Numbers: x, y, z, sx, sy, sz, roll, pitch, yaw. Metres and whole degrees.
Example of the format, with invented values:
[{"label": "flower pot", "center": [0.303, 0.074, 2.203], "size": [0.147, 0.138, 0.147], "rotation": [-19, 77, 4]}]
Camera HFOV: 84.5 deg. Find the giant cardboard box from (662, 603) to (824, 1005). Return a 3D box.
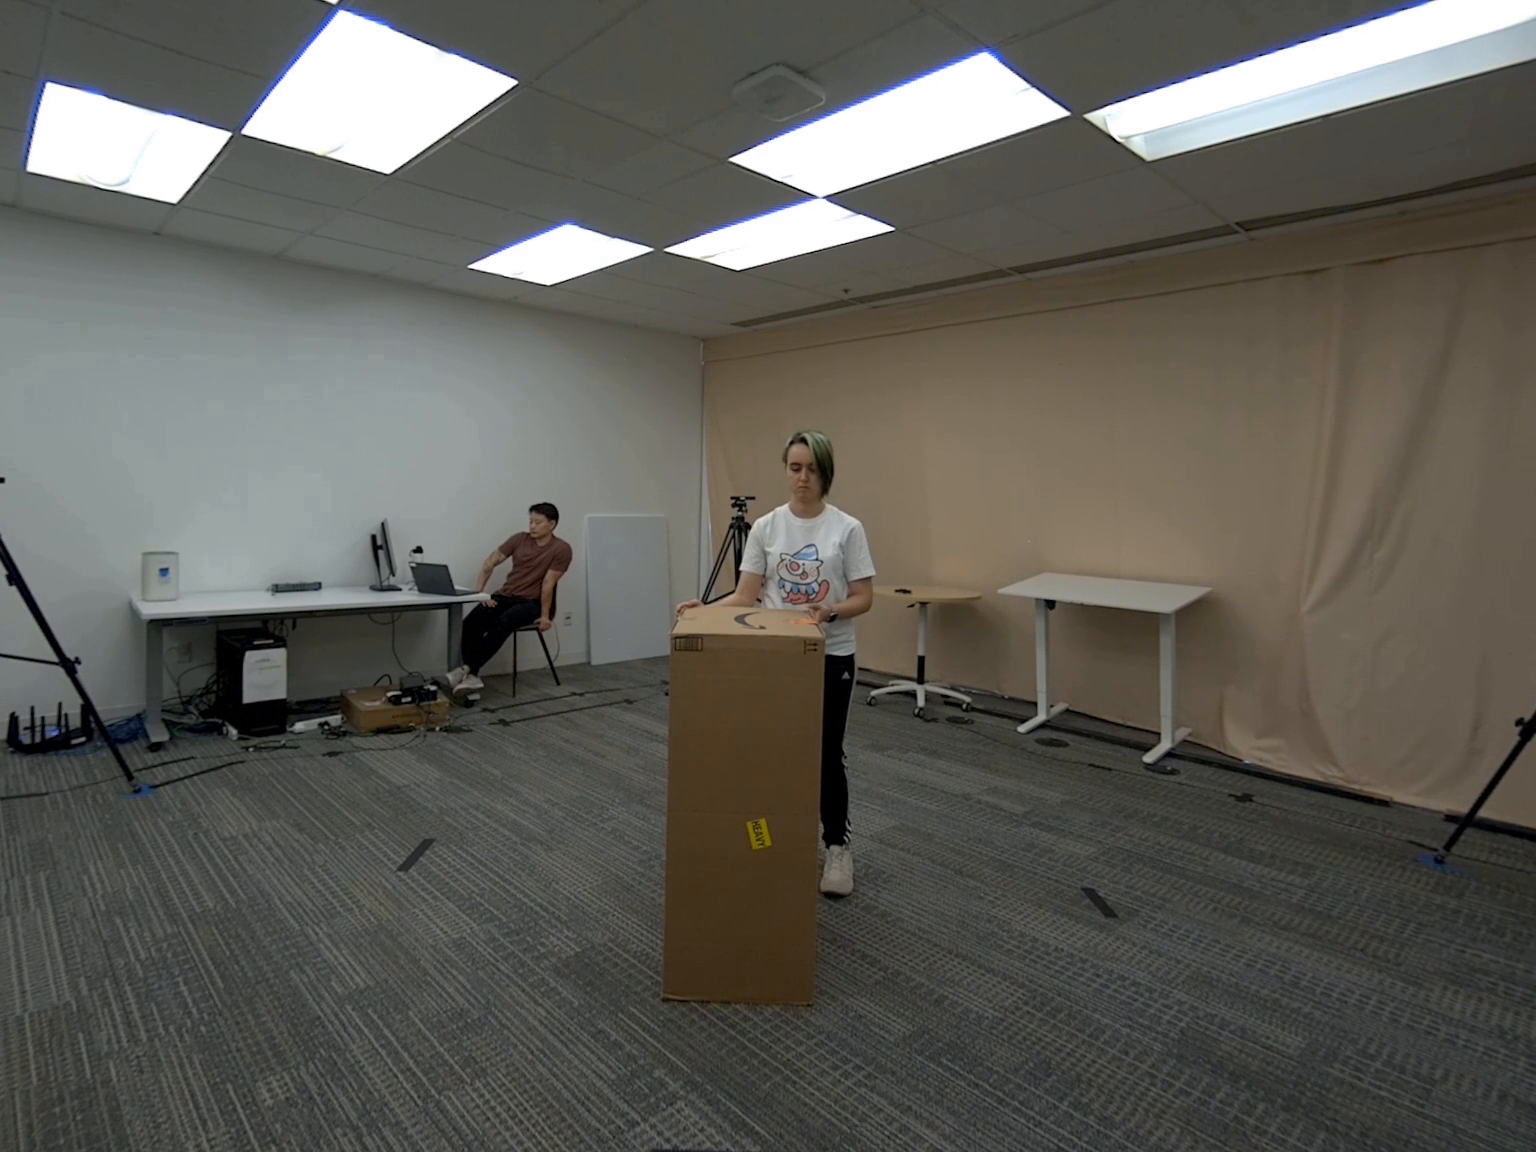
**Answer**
[{"label": "giant cardboard box", "center": [-0.094, 0.650, 2.576], "size": [0.426, 1.024, 0.578], "rotation": [1, 3, -1]}]
